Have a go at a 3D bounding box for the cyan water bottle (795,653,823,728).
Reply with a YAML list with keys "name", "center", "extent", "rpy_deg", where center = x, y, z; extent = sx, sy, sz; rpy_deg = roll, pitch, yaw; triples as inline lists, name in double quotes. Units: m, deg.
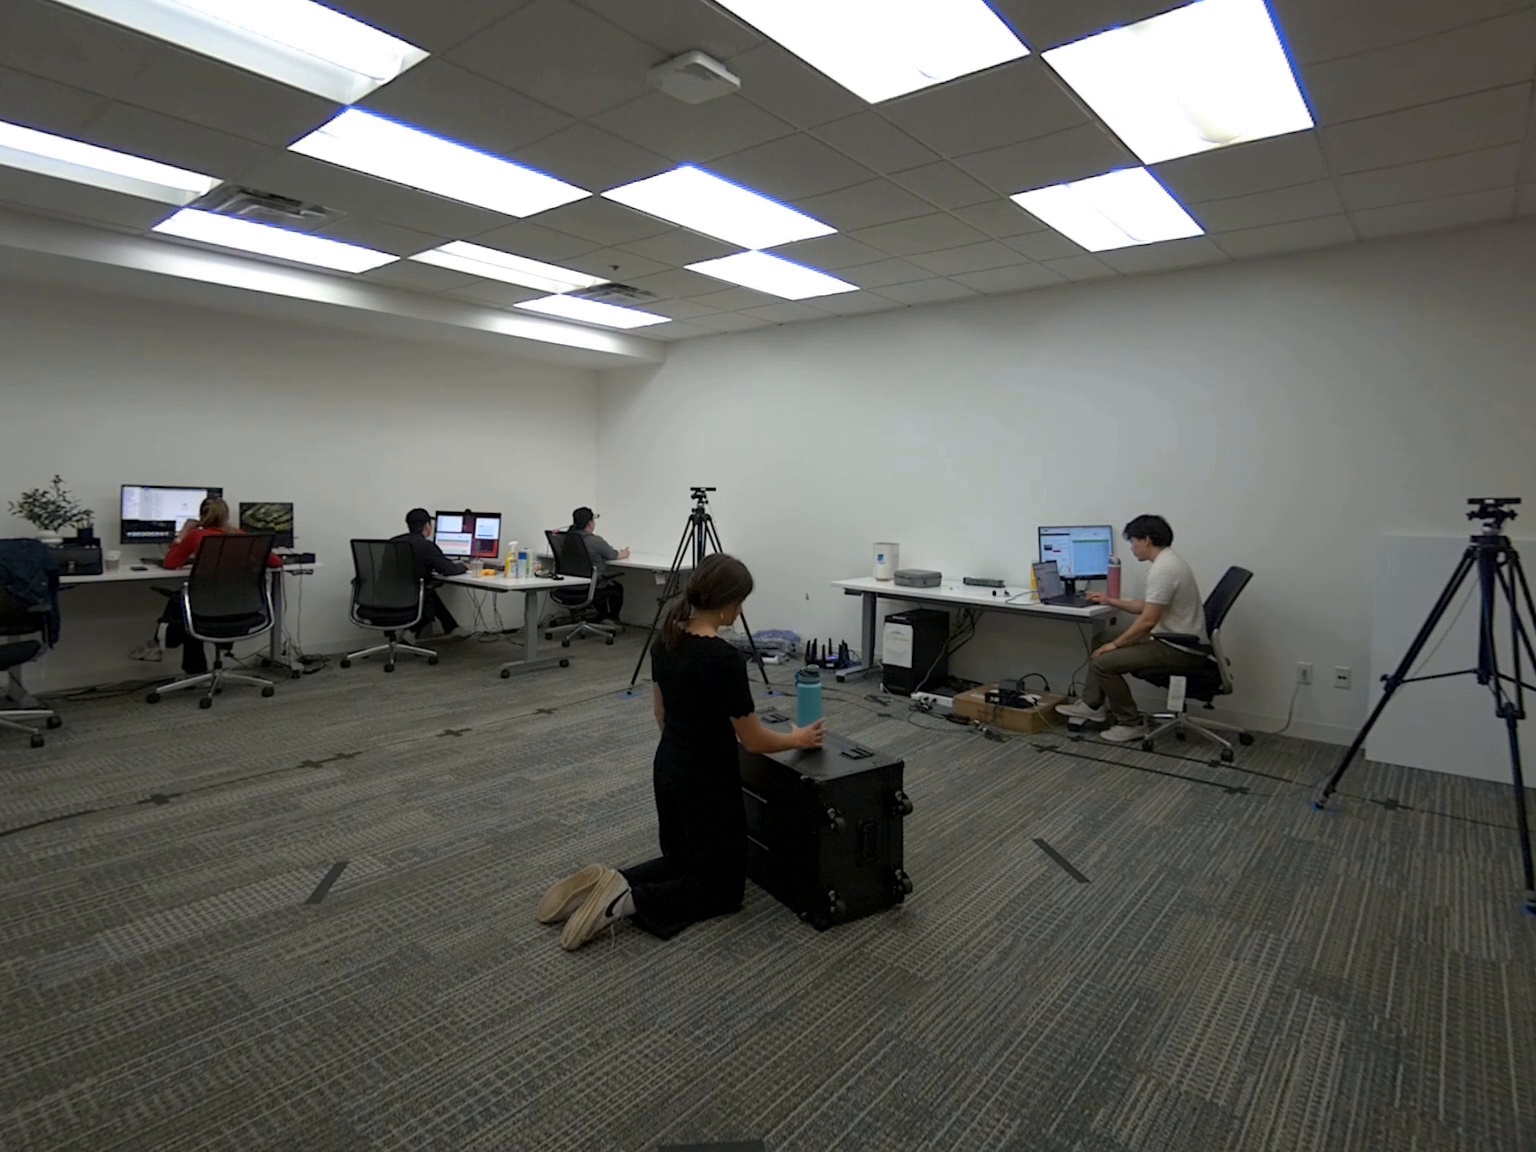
- name: "cyan water bottle"
  center: [0.136, 0.456, 2.993]
  extent: [0.092, 0.282, 0.093]
  rpy_deg: [1, 3, -2]
